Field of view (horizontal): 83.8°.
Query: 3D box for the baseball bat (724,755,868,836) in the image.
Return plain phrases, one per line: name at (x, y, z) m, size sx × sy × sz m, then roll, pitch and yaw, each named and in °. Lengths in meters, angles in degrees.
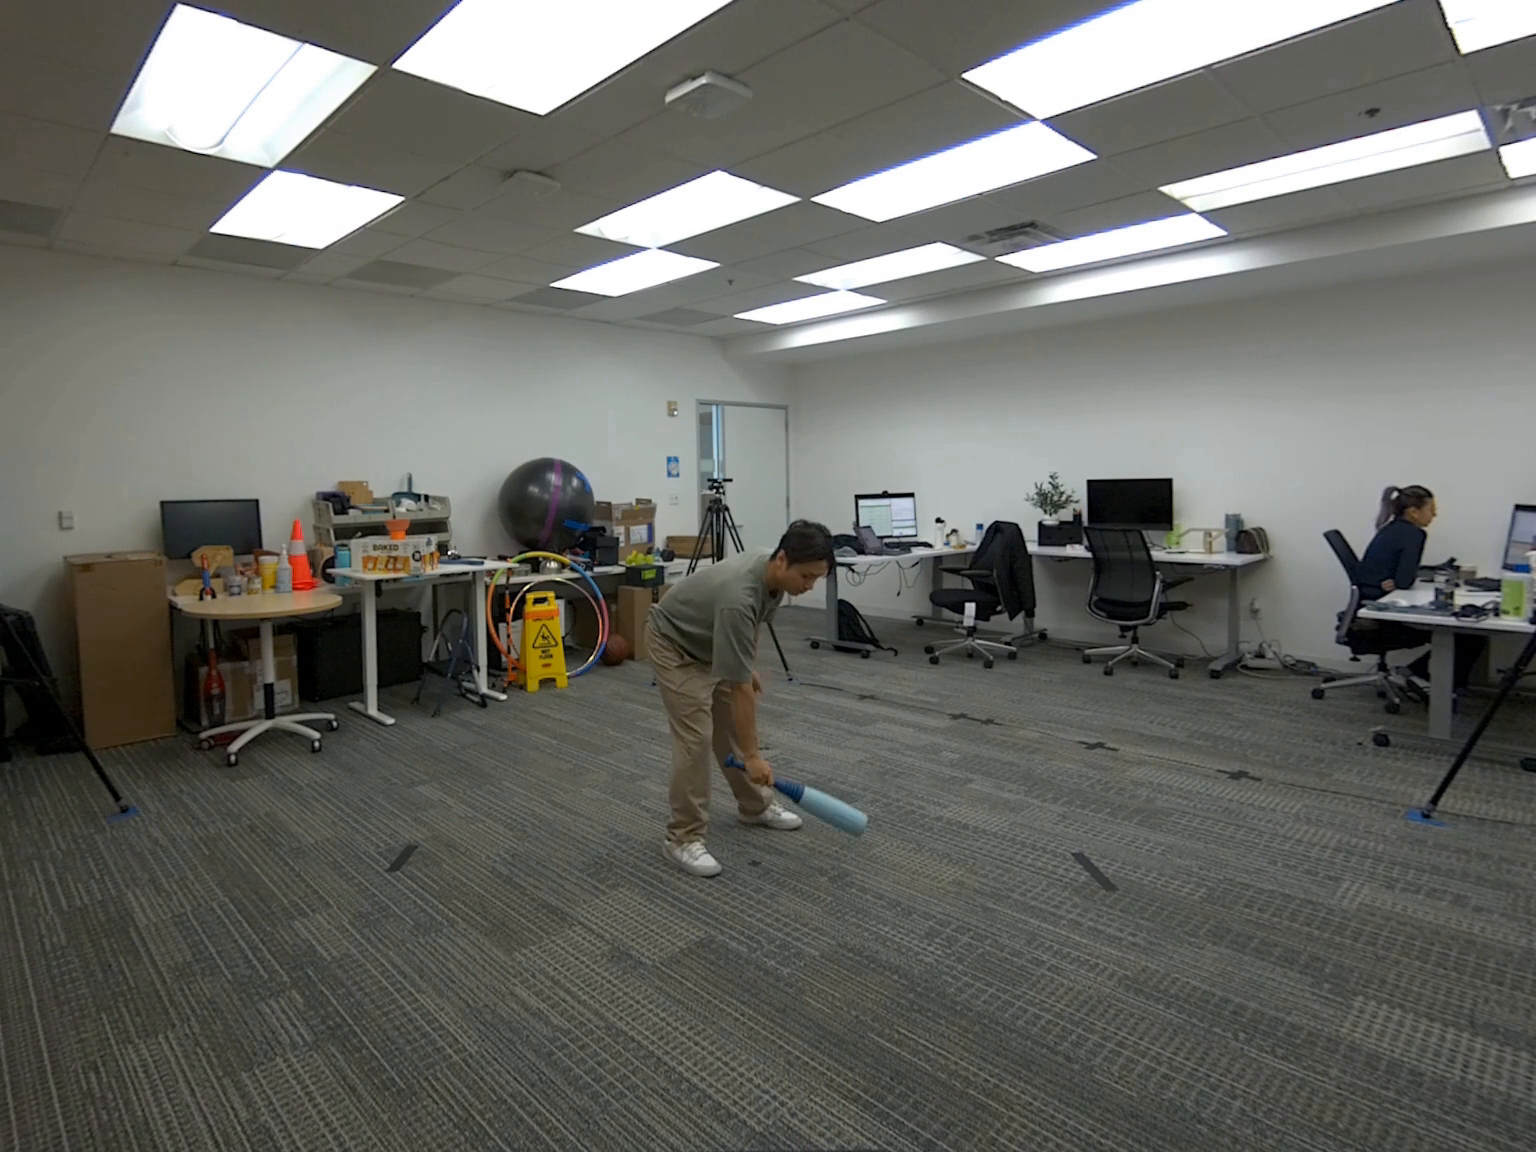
baseball bat at (0.104, 0.736, 3.012) m, size 0.544 × 0.089 × 0.089 m, roll 24°, pitch 5°, yaw 2°
